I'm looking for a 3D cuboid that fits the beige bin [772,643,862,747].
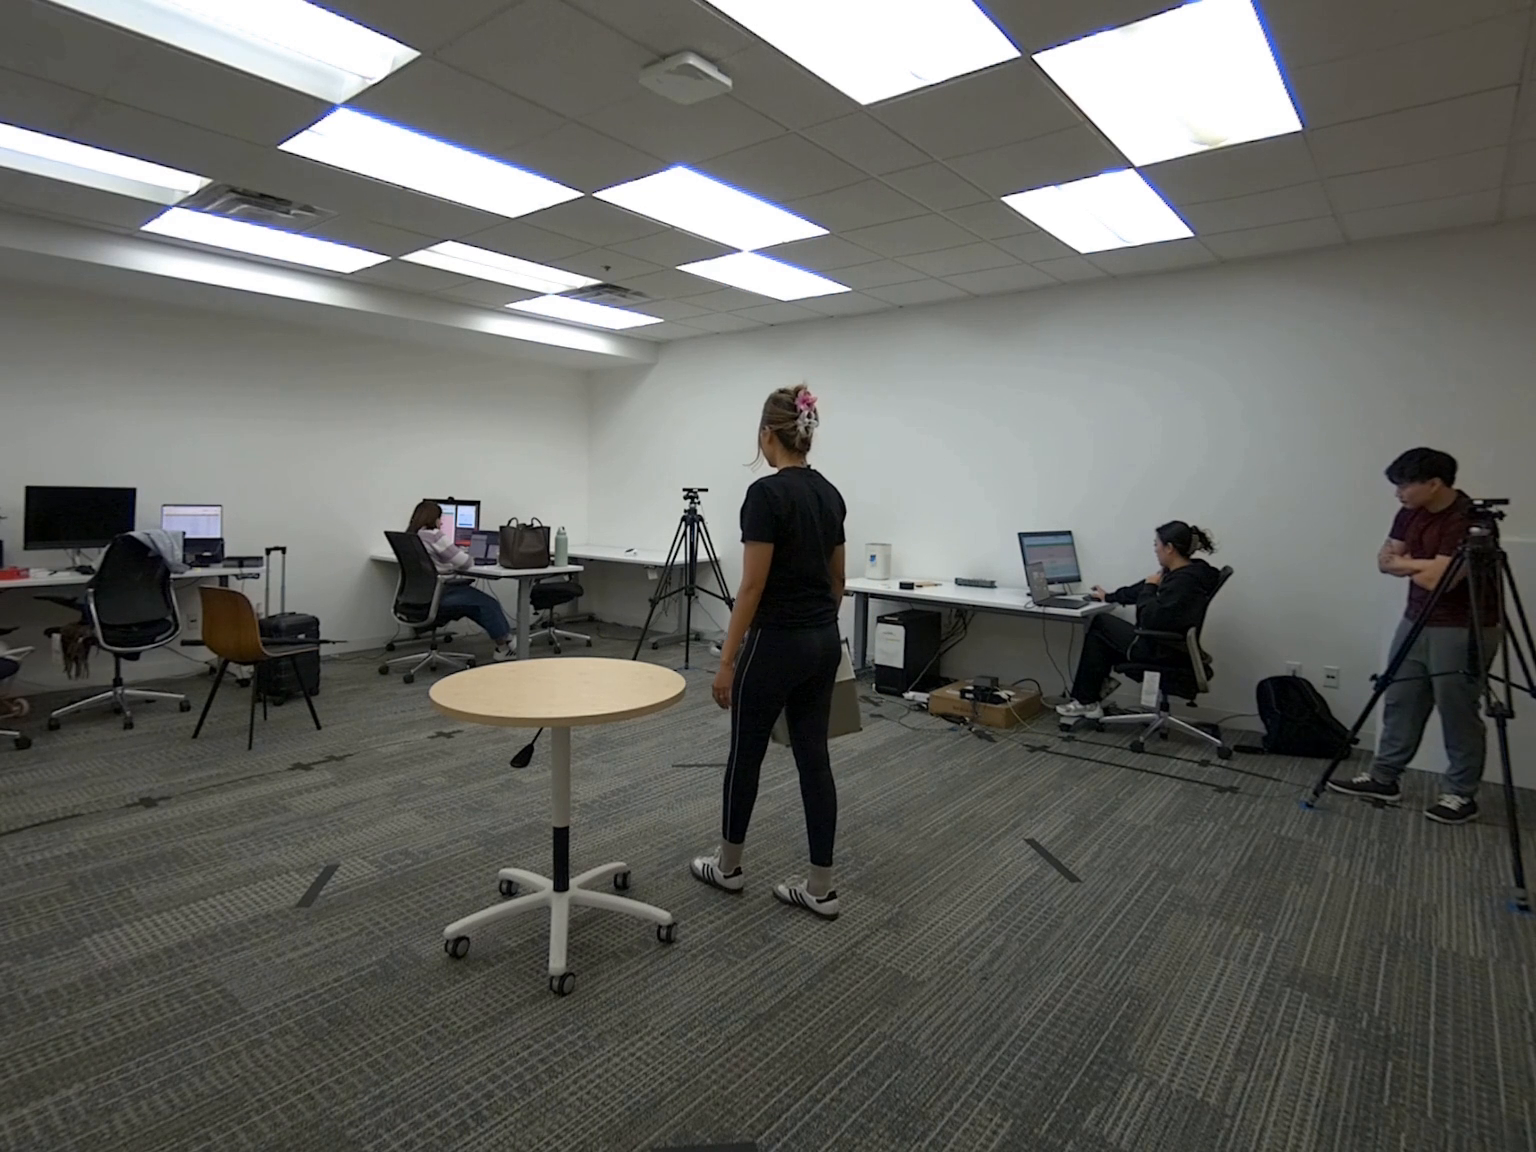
[{"bbox_3d":[0.151,0.465,3.290,0.378,0.195,0.407,-12,-40,2],"label":"beige bin"}]
